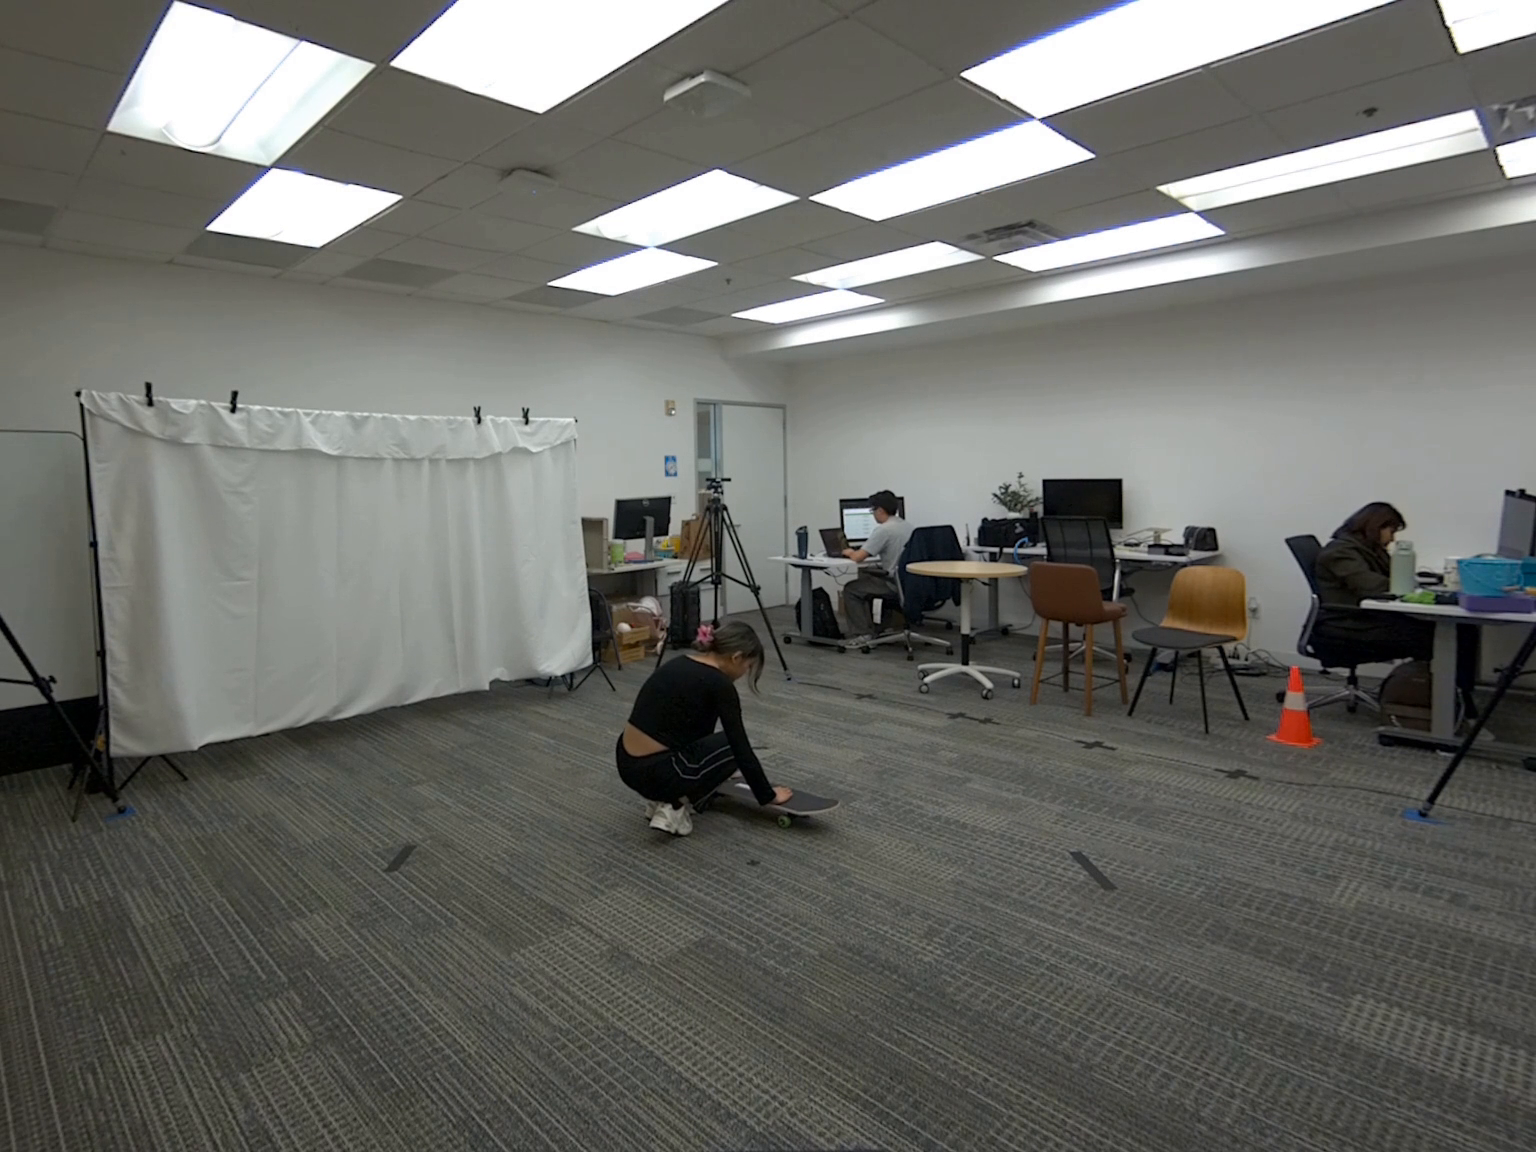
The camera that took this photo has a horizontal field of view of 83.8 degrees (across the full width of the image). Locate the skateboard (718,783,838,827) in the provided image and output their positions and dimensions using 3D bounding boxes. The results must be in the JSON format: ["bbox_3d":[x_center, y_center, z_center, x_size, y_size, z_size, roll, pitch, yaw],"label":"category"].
[{"bbox_3d":[-0.052,0.926,3.597,0.809,0.110,0.188,4,7,37],"label":"skateboard"}]
